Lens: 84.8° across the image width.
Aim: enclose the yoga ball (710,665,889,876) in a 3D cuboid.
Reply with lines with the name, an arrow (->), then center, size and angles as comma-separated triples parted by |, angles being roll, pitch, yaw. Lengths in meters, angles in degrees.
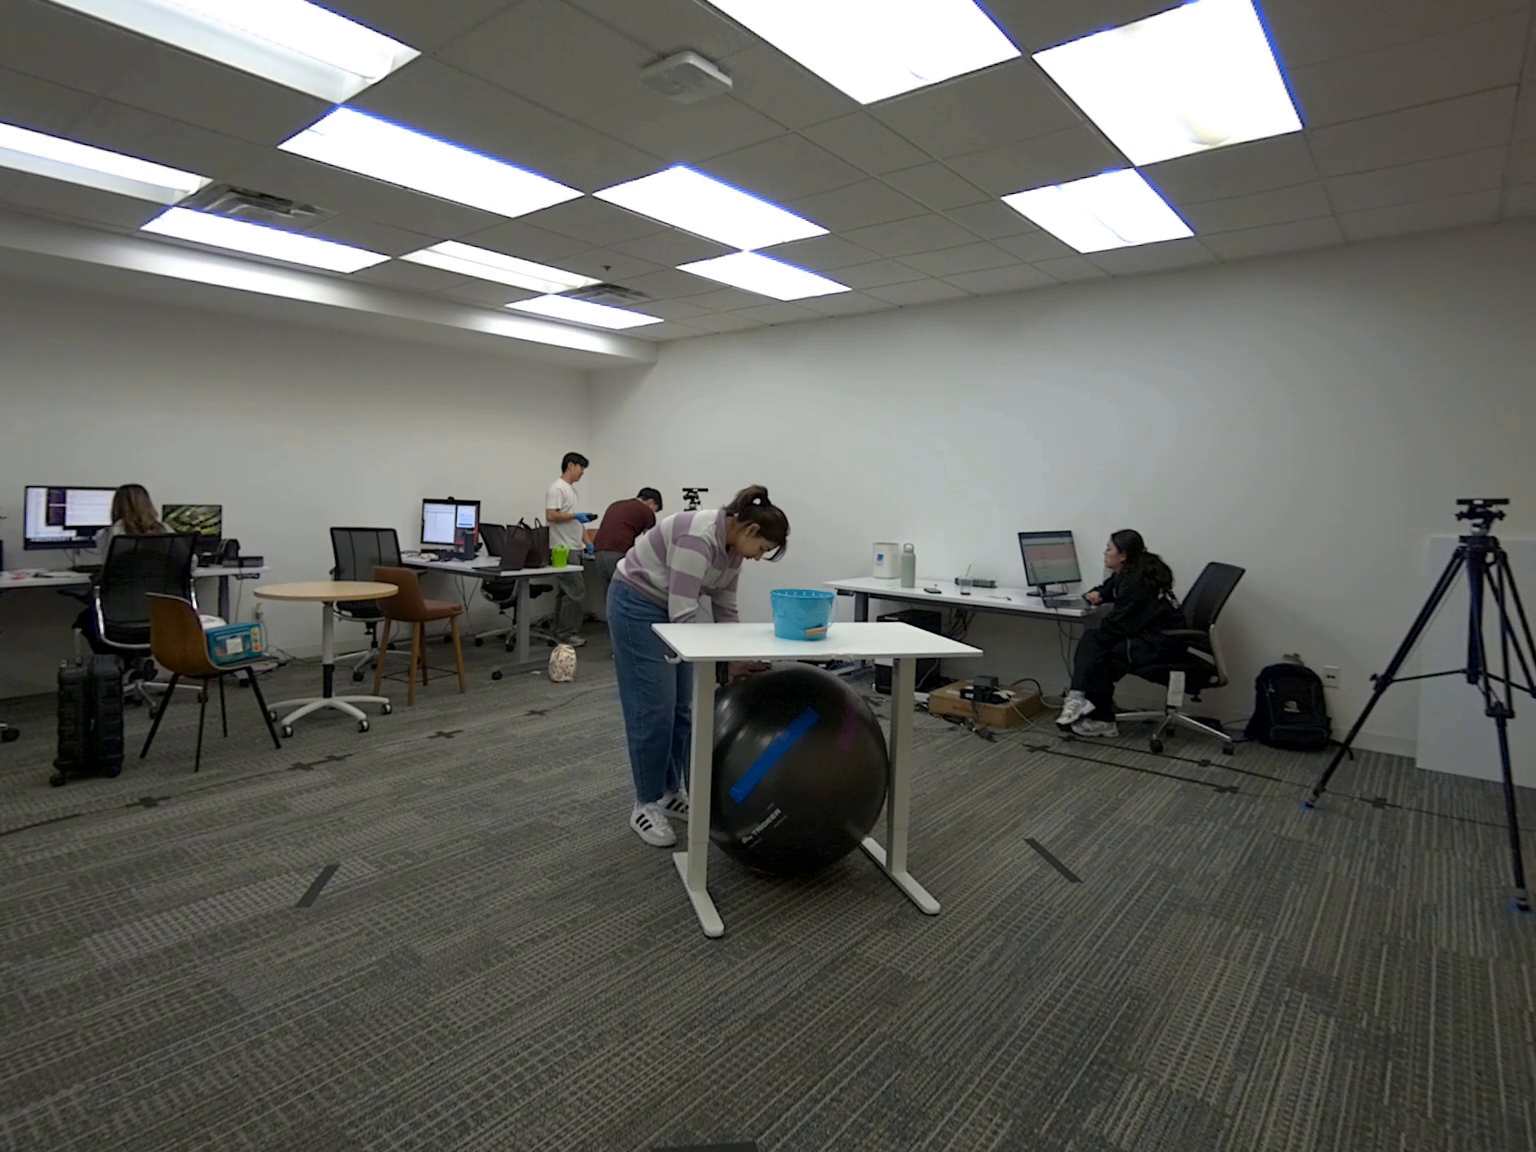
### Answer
yoga ball -> 0.069, 0.706, 3.158 | 0.757, 0.755, 0.762 | 1, 4, -2
